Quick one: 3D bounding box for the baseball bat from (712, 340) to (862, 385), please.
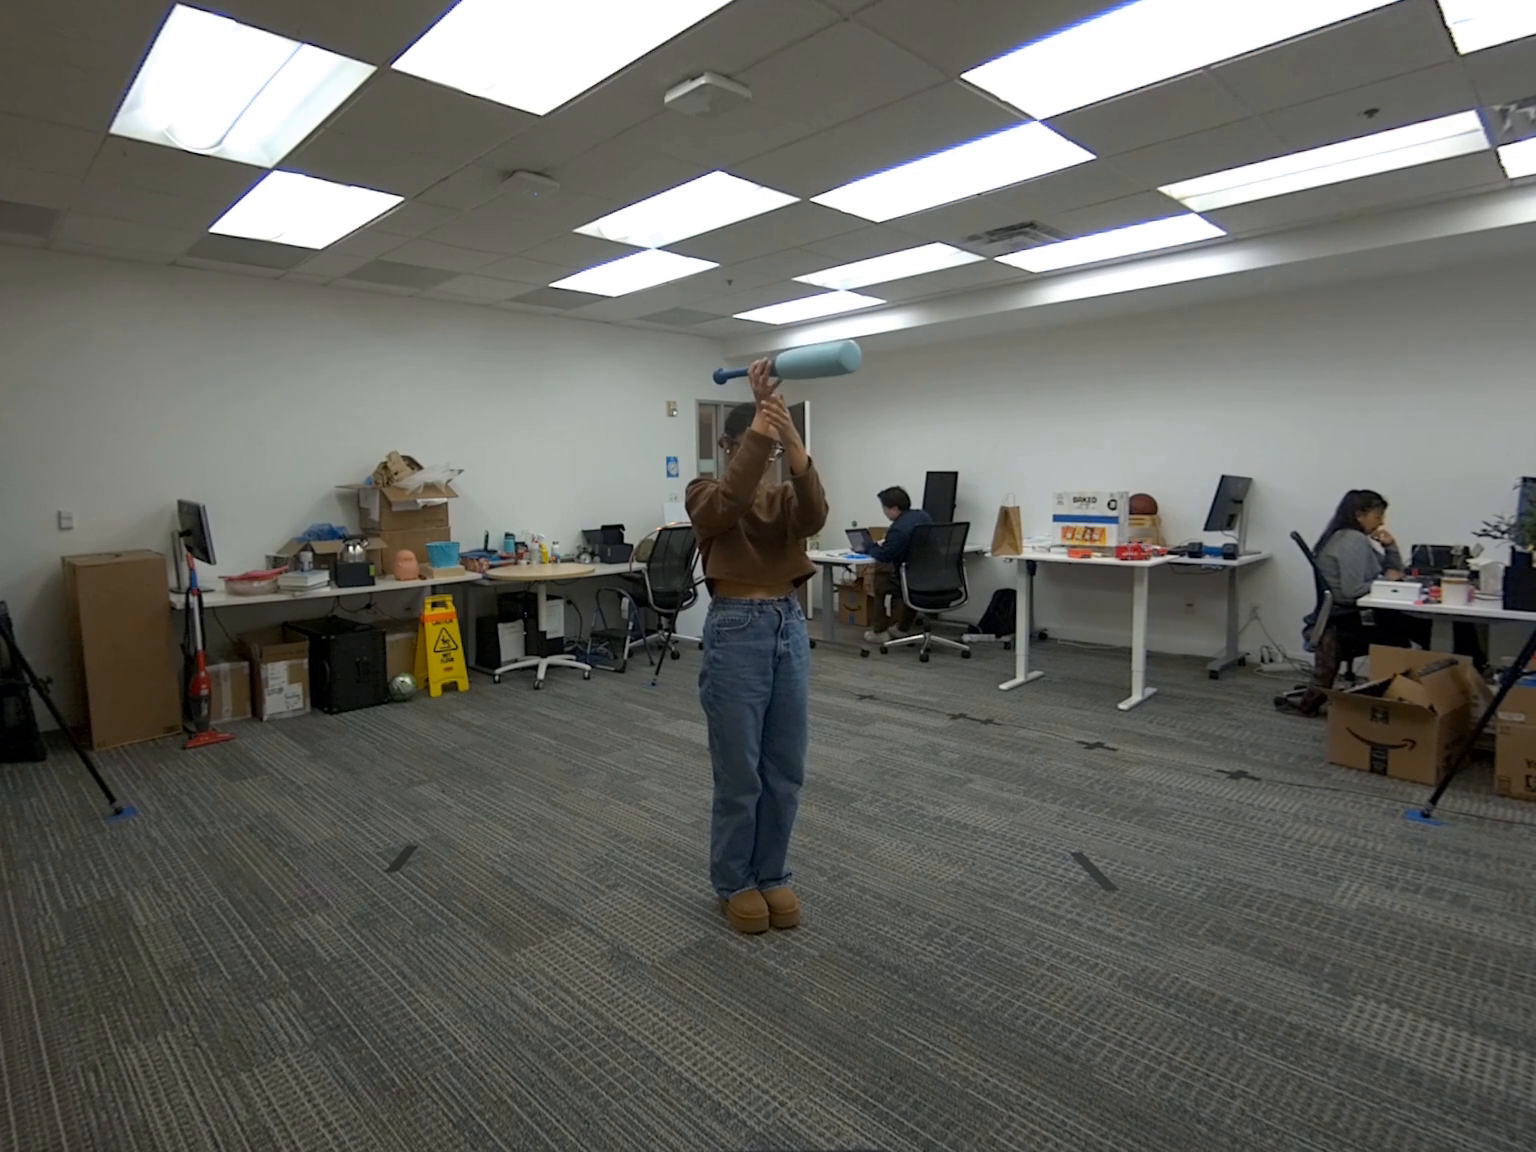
[{"bbox_3d":[0.039,-0.577,2.351,0.087,0.088,0.560,-5,8,-40],"label":"baseball bat"}]
